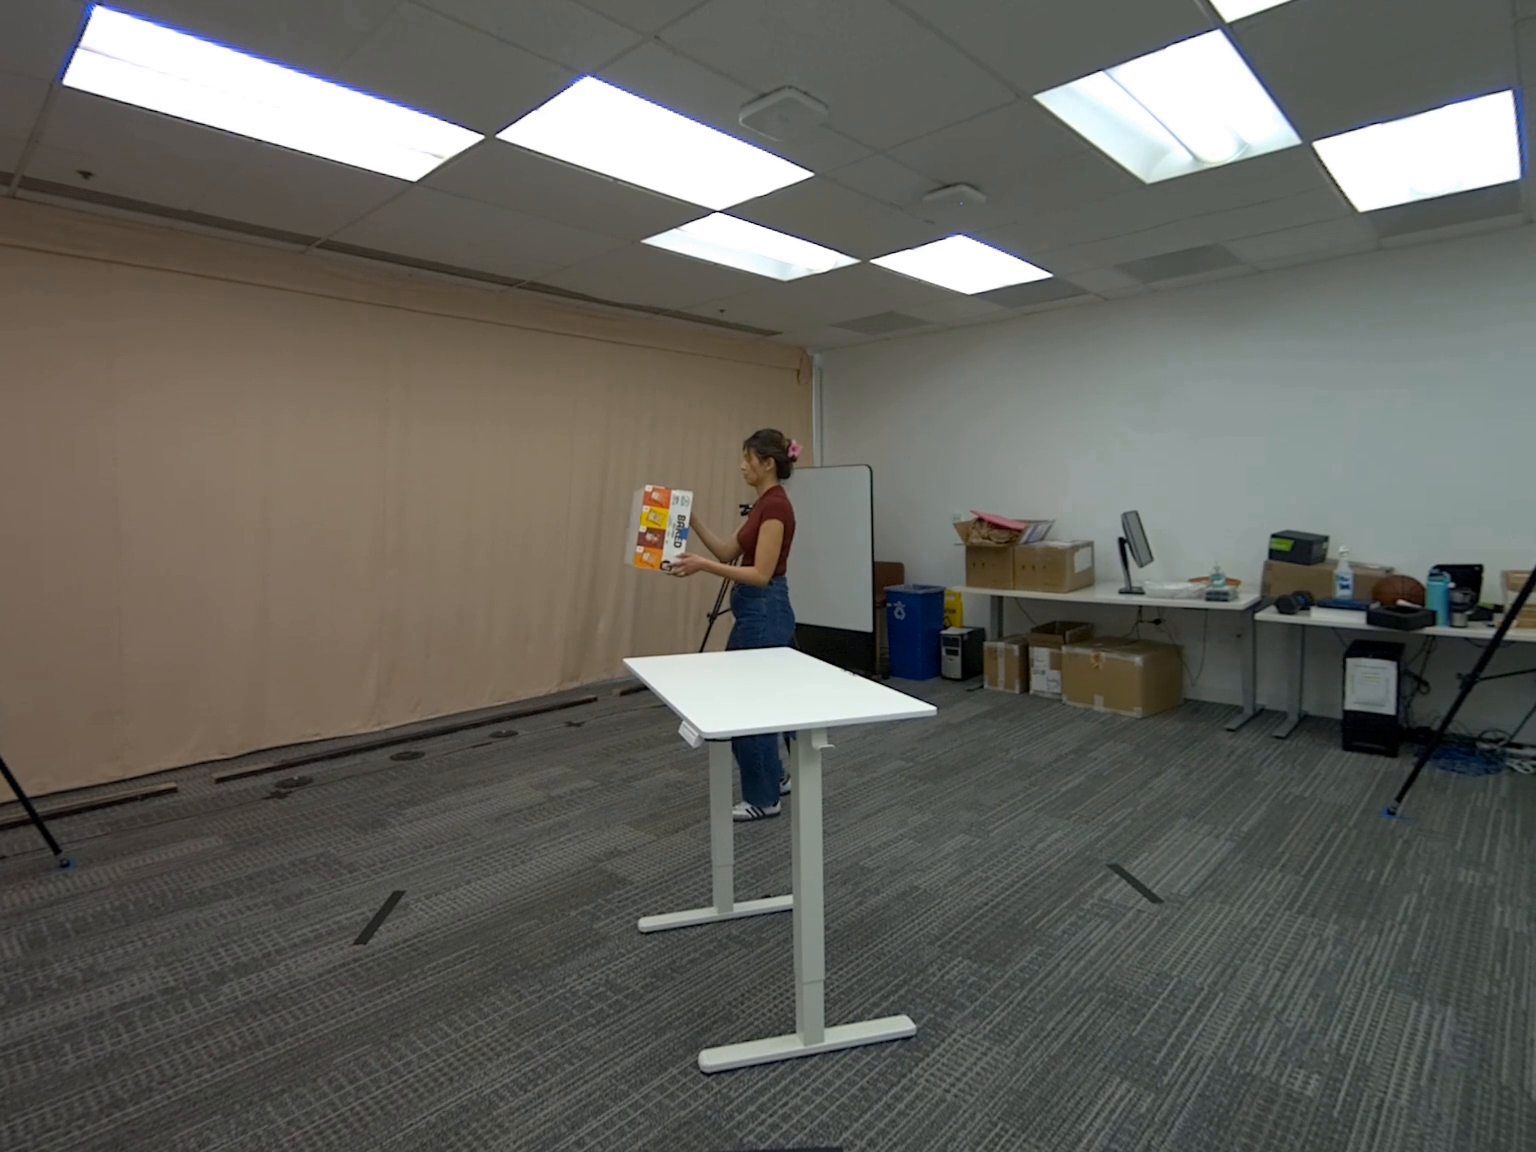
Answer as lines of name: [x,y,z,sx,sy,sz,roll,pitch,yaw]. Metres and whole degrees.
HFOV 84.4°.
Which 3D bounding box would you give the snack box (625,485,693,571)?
snack box: [-0.477,-0.195,3.638,0.202,0.340,0.411,8,-1,-15]
